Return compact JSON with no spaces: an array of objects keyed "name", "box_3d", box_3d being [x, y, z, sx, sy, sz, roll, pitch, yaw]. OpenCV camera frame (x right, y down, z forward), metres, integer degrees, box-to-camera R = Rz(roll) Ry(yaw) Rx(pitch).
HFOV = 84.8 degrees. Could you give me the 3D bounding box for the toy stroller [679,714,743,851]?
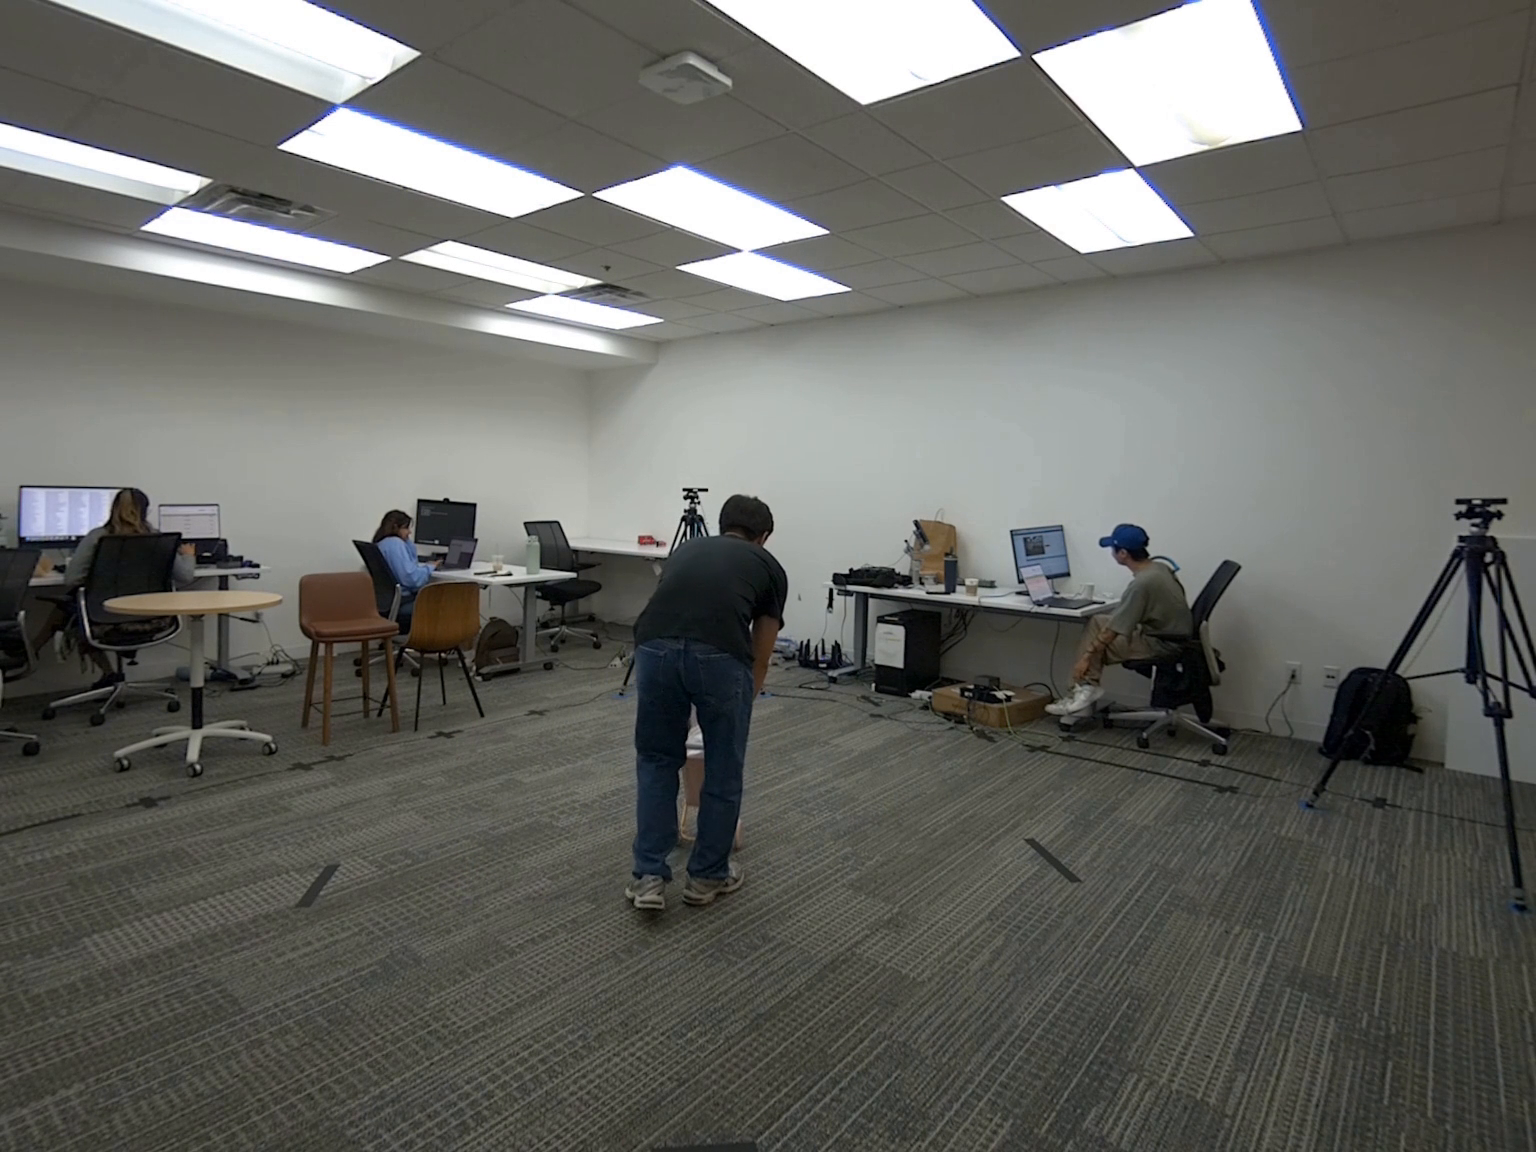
[{"name":"toy stroller","box_3d":[-0.246,0.818,3.371,0.284,0.526,0.343,2,18,9]}]
